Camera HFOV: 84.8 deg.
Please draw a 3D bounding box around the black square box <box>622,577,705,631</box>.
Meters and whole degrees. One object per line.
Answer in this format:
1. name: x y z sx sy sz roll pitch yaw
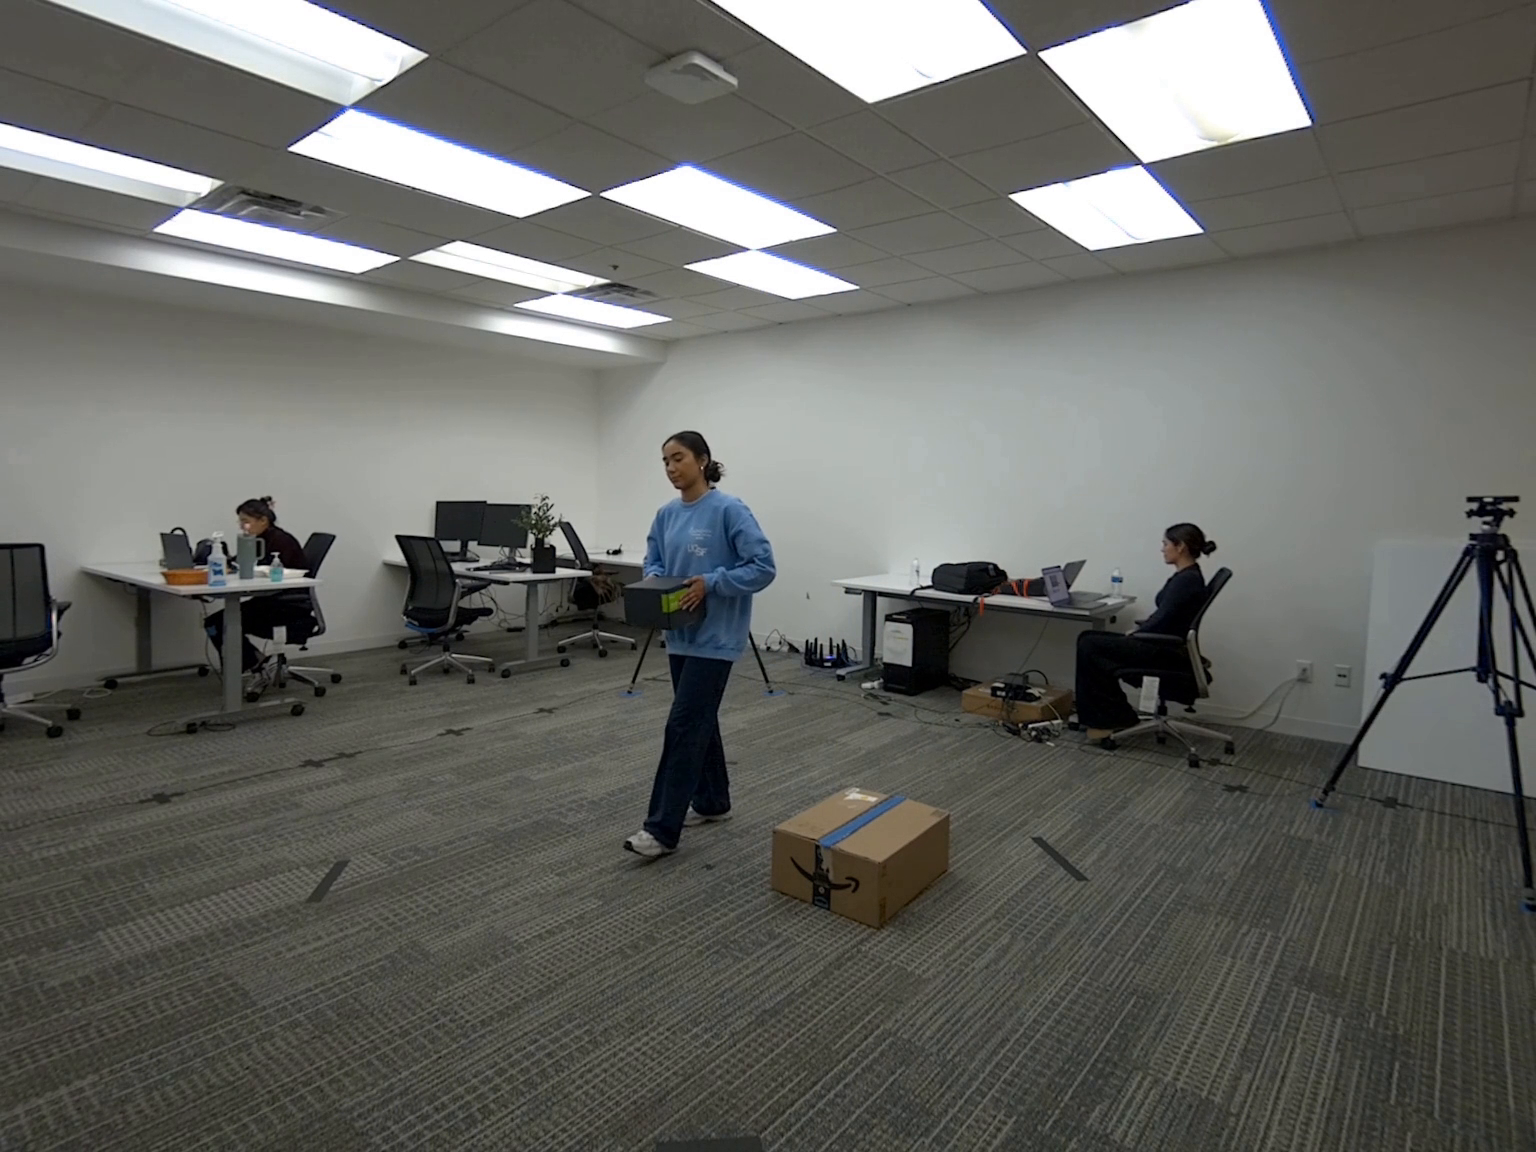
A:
1. black square box: -0.417 0.086 3.229 0.223 0.155 0.223 2 10 32
